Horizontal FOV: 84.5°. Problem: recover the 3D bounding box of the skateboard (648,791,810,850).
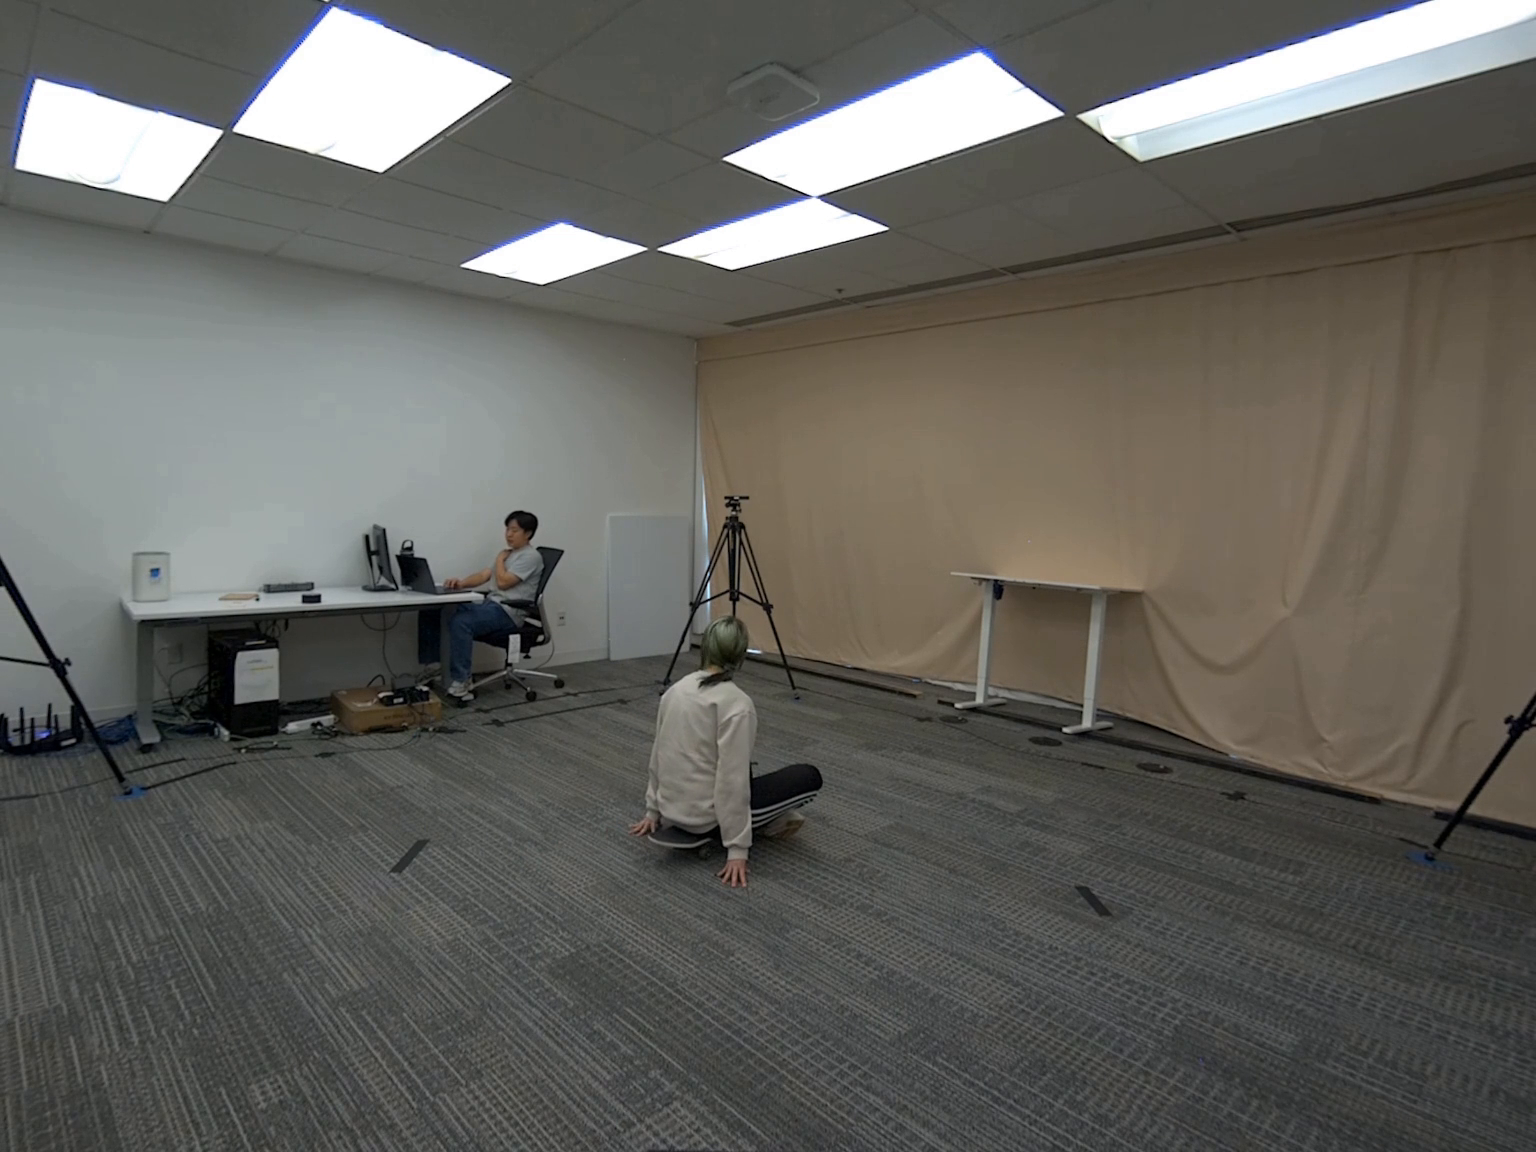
[{"bbox_3d":[-0.168,1.019,3.445,0.198,0.110,0.769,1,5,38],"label":"skateboard"}]
